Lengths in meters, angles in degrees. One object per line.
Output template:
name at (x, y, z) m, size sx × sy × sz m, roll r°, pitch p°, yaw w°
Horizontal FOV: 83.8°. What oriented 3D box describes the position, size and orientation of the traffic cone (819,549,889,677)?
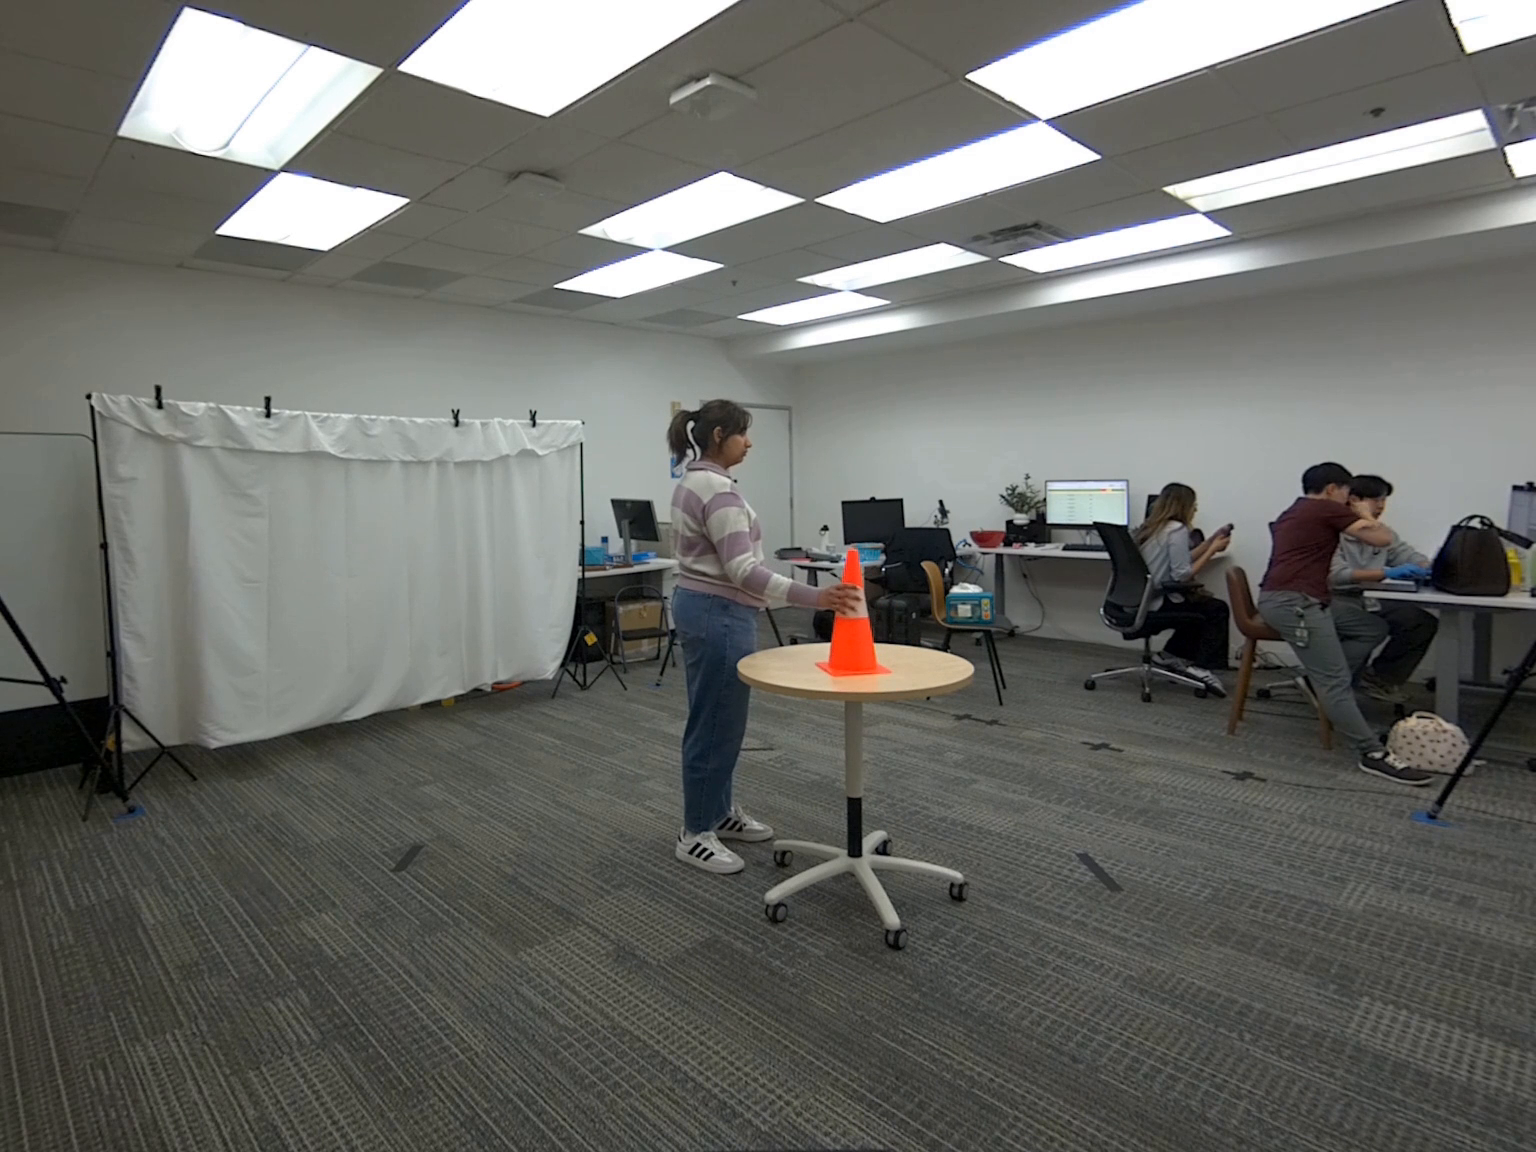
traffic cone at (0.273, 0.105, 2.740) m, size 0.202 × 0.383 × 0.207 m, roll -3°, pitch 3°, yaw -15°
